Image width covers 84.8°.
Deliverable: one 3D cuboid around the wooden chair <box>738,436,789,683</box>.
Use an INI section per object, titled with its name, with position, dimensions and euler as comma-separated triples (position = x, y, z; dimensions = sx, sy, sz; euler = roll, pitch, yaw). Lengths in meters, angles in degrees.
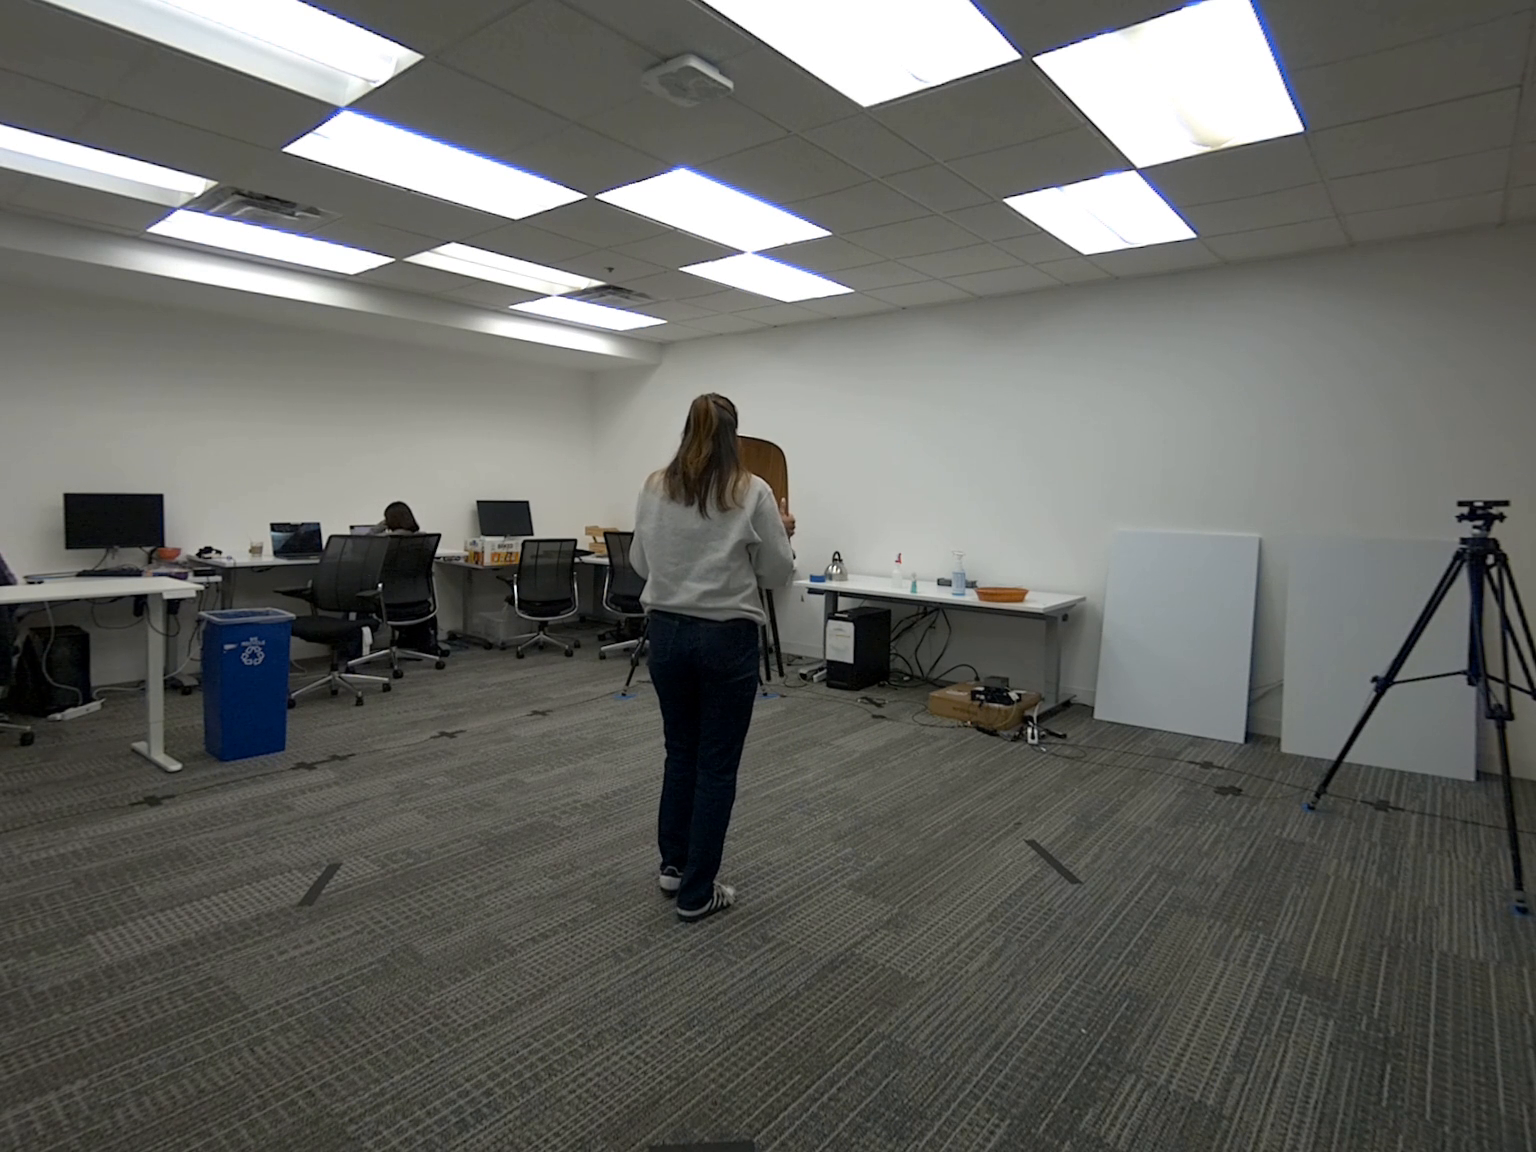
[wooden chair]
position = -0.155, -0.064, 3.236
dimensions = 0.484, 0.879, 0.516
euler = 4, -2, 9
